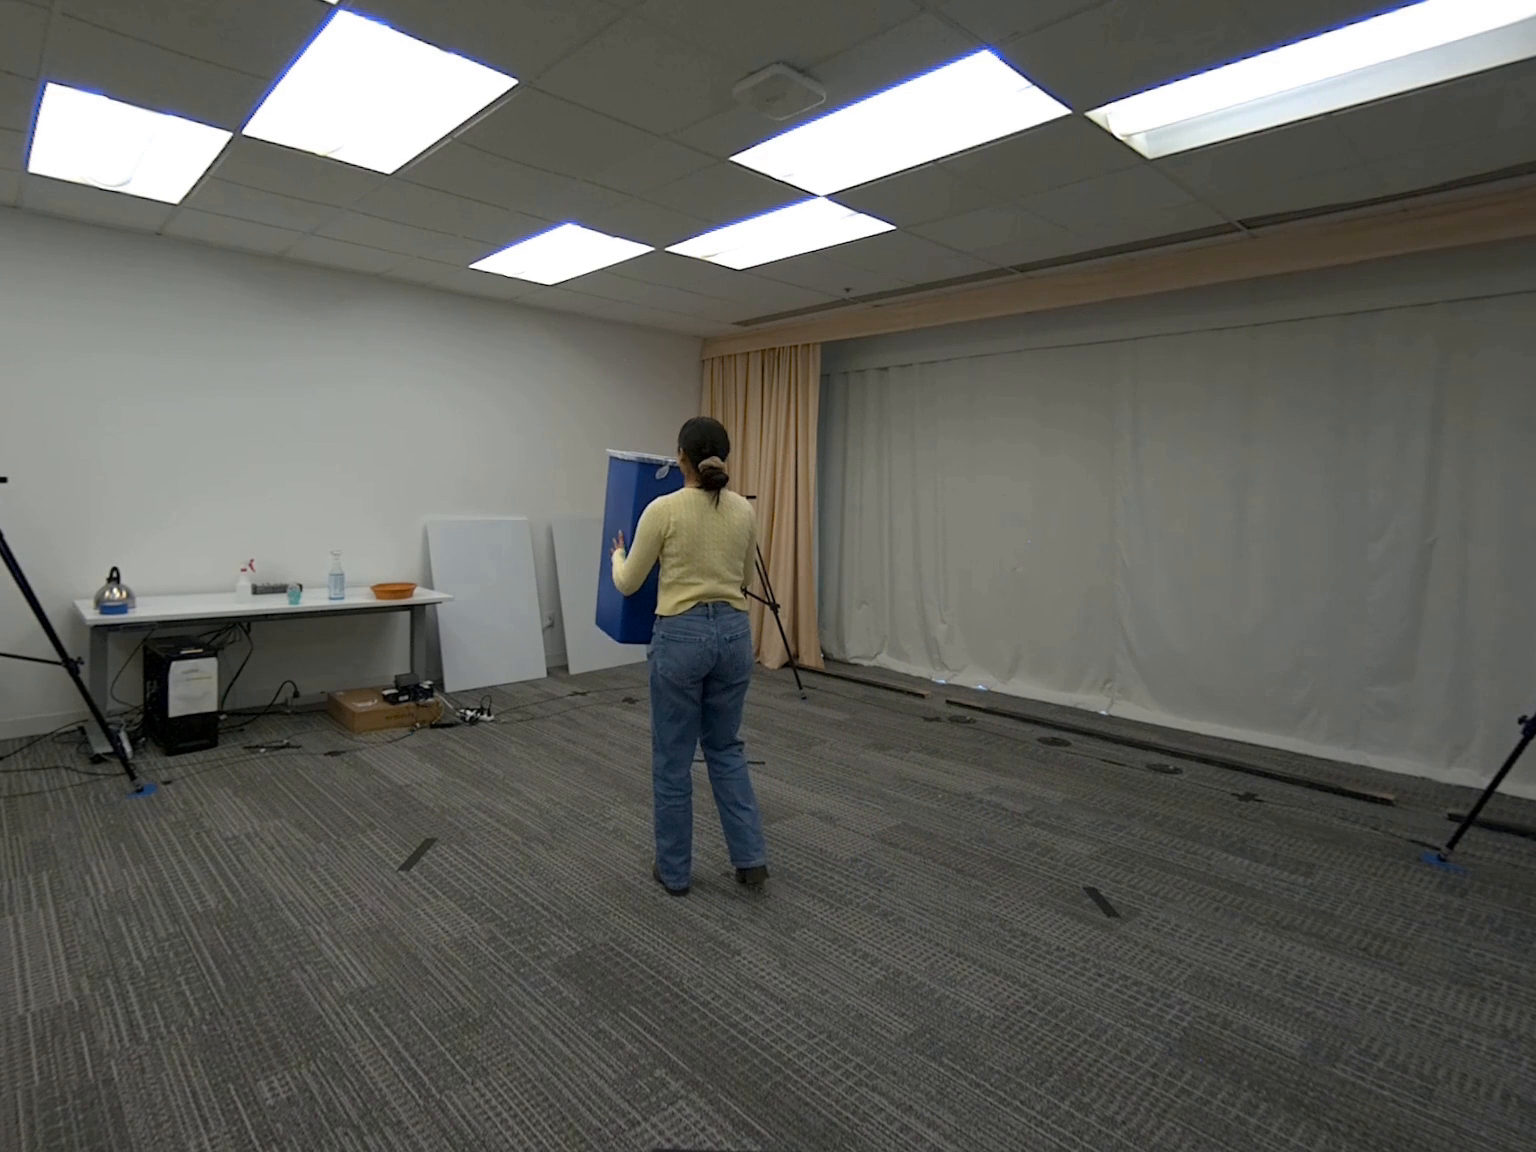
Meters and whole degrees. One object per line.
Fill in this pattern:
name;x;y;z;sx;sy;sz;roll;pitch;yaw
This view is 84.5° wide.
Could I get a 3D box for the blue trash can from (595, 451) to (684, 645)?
blue trash can;-0.465;-0.119;3.333;0.370;0.710;0.384;4;8;-30
